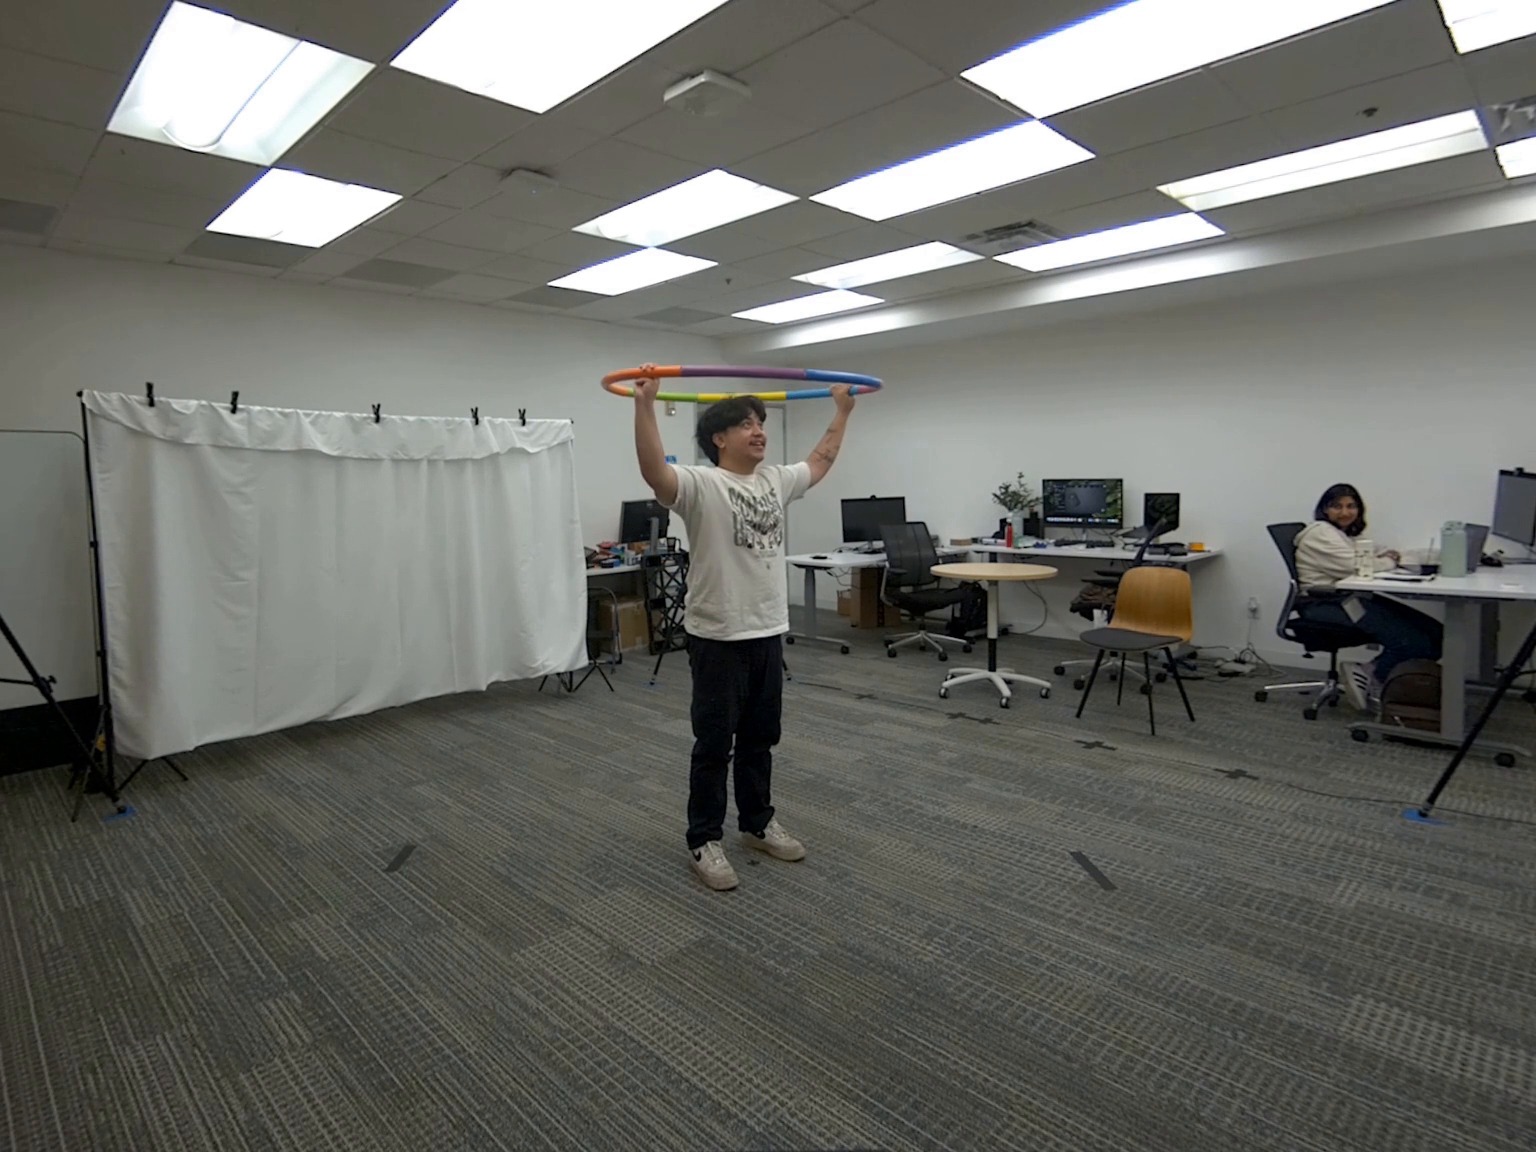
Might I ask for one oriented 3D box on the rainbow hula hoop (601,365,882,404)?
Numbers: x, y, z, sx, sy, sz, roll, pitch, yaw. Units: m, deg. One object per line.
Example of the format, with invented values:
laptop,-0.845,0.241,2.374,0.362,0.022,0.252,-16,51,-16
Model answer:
rainbow hula hoop,-0.091,-0.667,3.004,0.985,0.051,0.991,0,7,-2
